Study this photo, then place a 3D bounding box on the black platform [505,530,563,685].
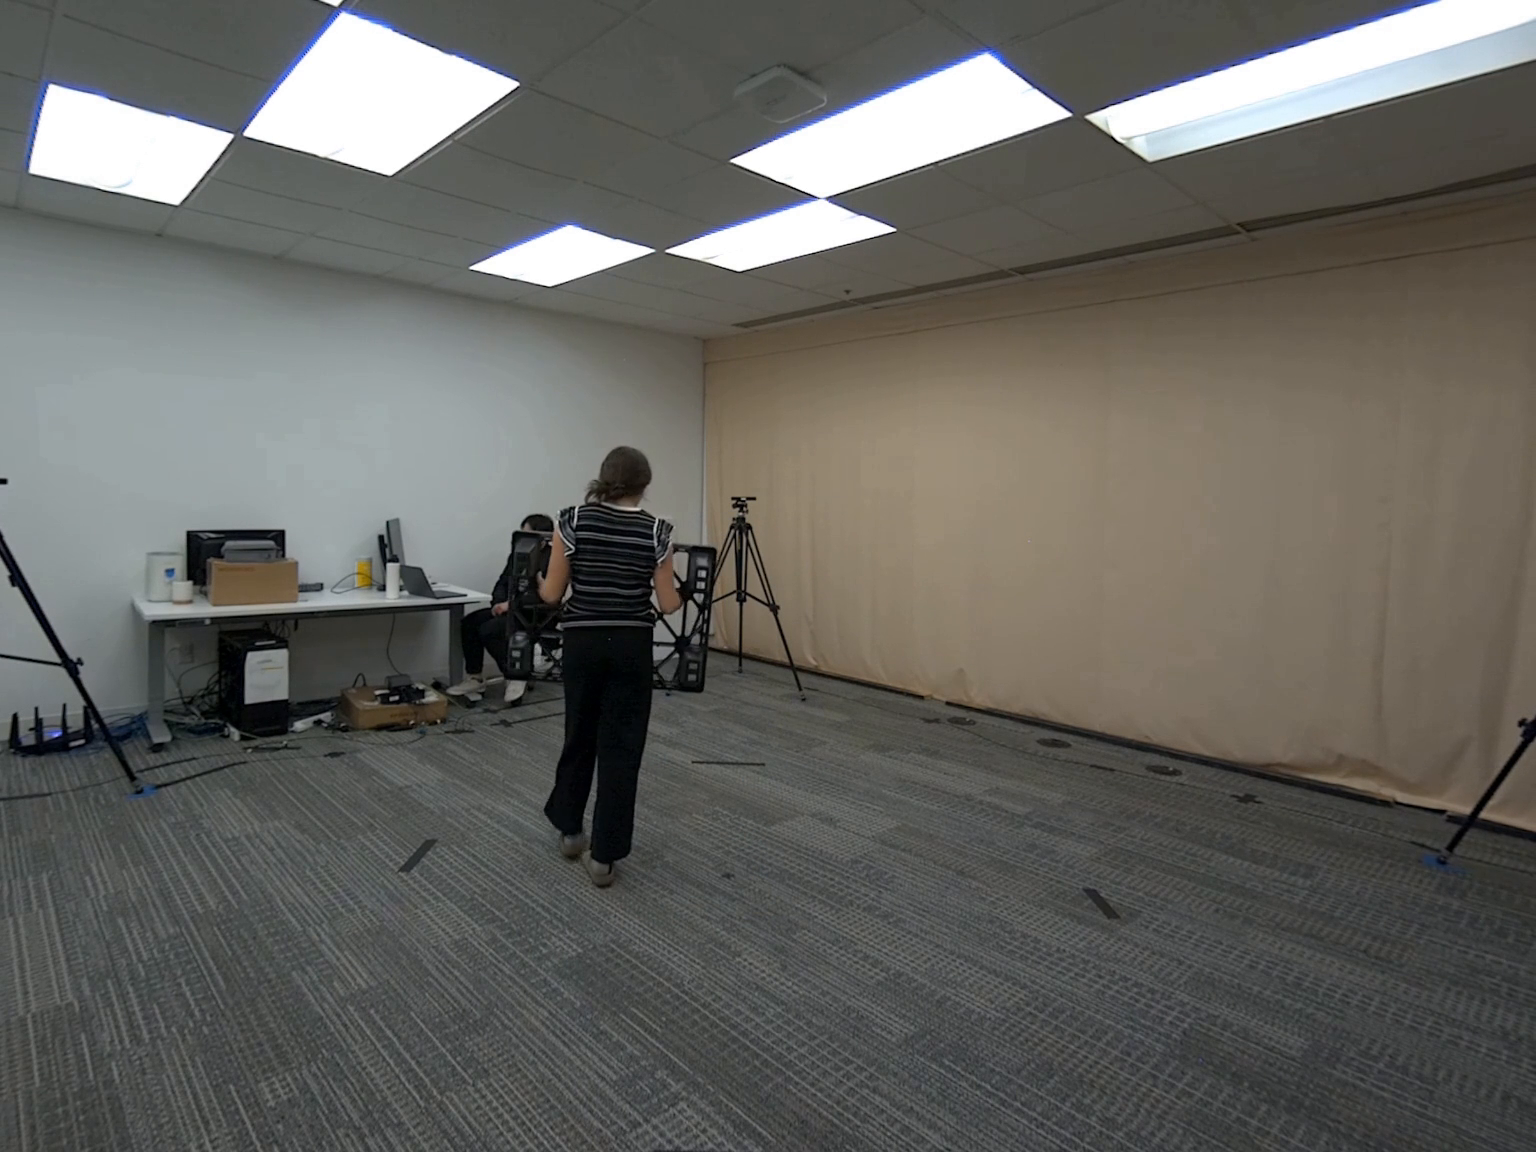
[{"bbox_3d":[-0.622,0.157,3.287,0.801,0.602,0.145,5,8,-6],"label":"black platform"}]
